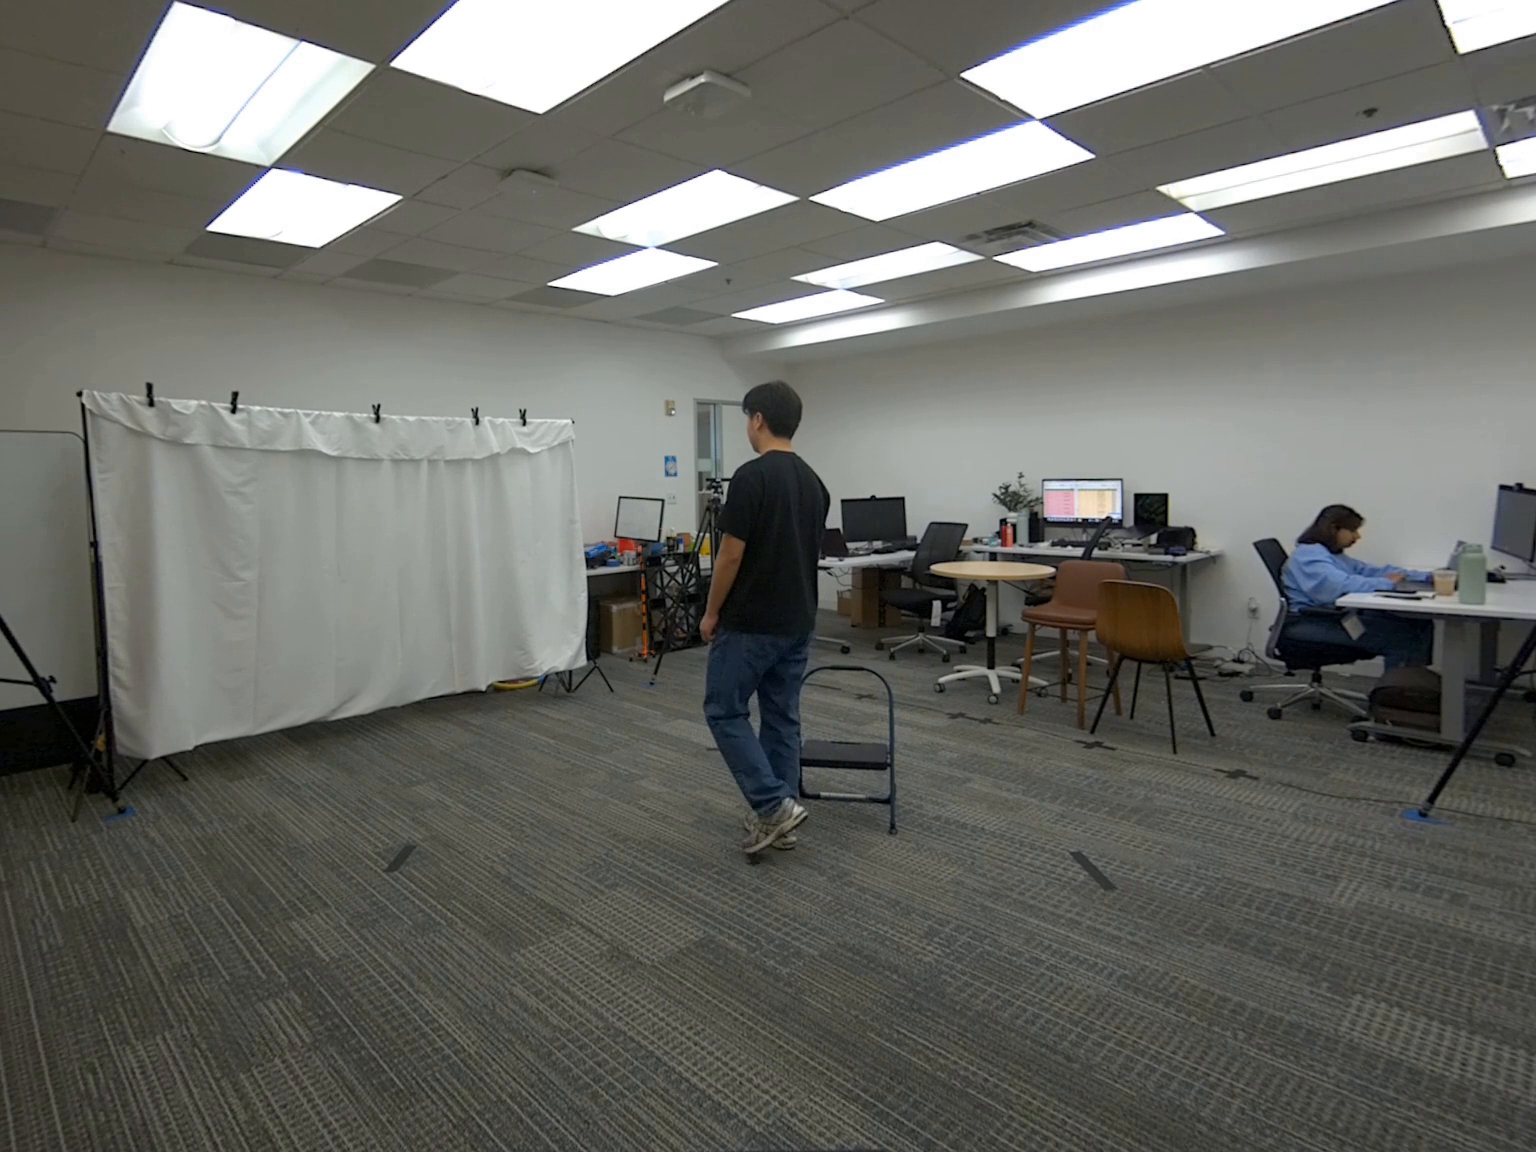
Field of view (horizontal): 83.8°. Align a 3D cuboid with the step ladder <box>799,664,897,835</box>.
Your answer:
[{"bbox_3d":[0.317,0.688,3.531,0.435,0.604,0.347,0,4,9],"label":"step ladder"}]
